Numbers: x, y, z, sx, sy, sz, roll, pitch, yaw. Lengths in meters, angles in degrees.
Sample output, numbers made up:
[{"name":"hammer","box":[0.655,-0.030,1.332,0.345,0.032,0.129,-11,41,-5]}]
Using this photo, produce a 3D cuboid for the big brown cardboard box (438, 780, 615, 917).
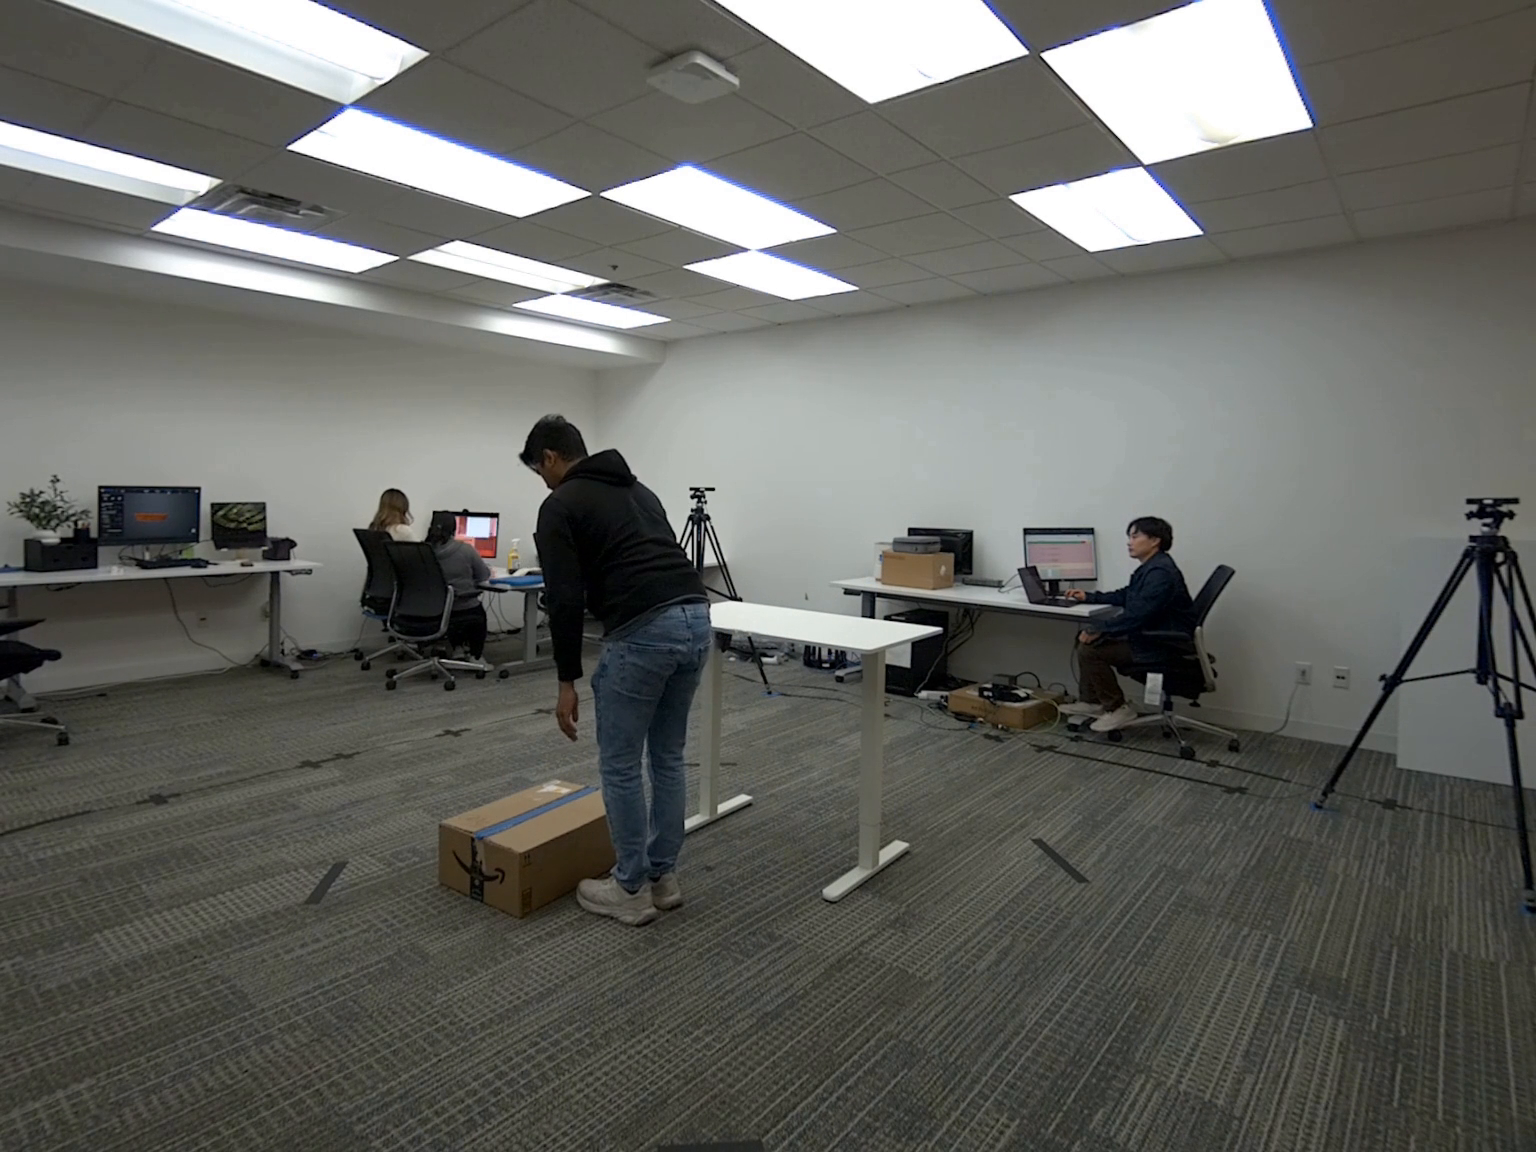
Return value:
[{"name":"big brown cardboard box","box":[-0.831,0.950,3.064,0.430,0.232,0.574,4,7,32]}]
